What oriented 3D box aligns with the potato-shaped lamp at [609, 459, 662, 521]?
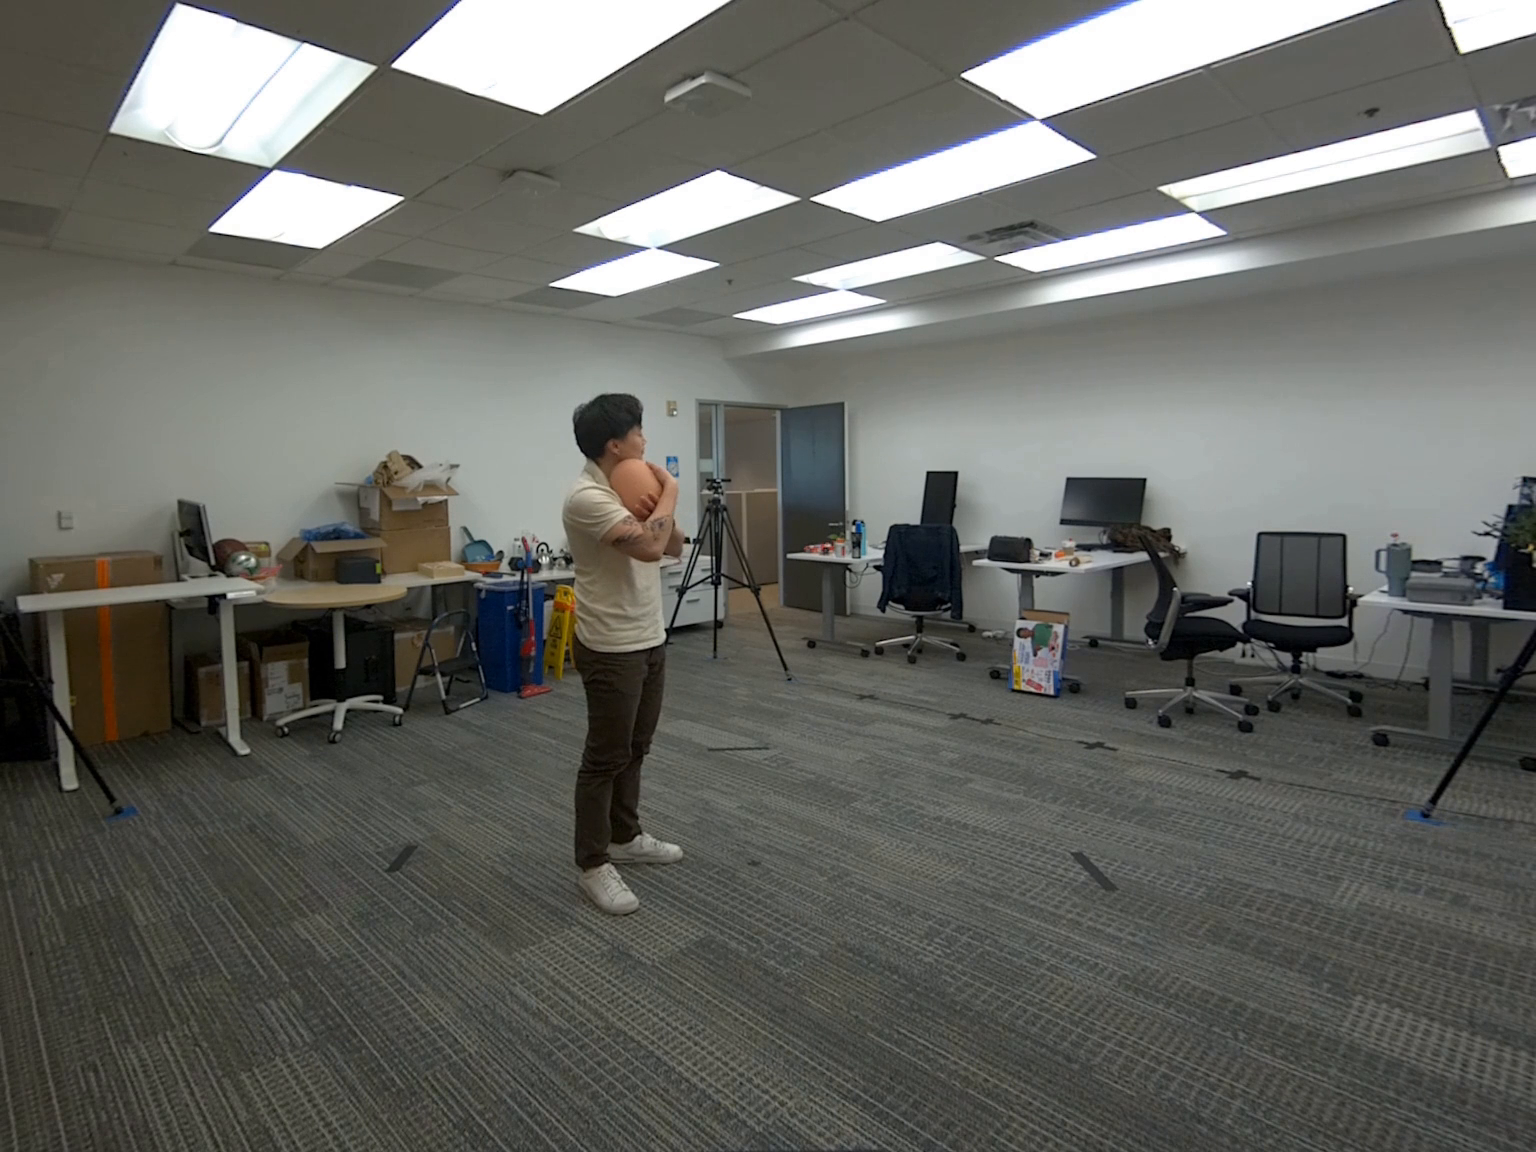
[{"bbox_3d":[-0.434,-0.288,2.814,0.162,0.201,0.171,-27,-17,-52],"label":"potato-shaped lamp"}]
